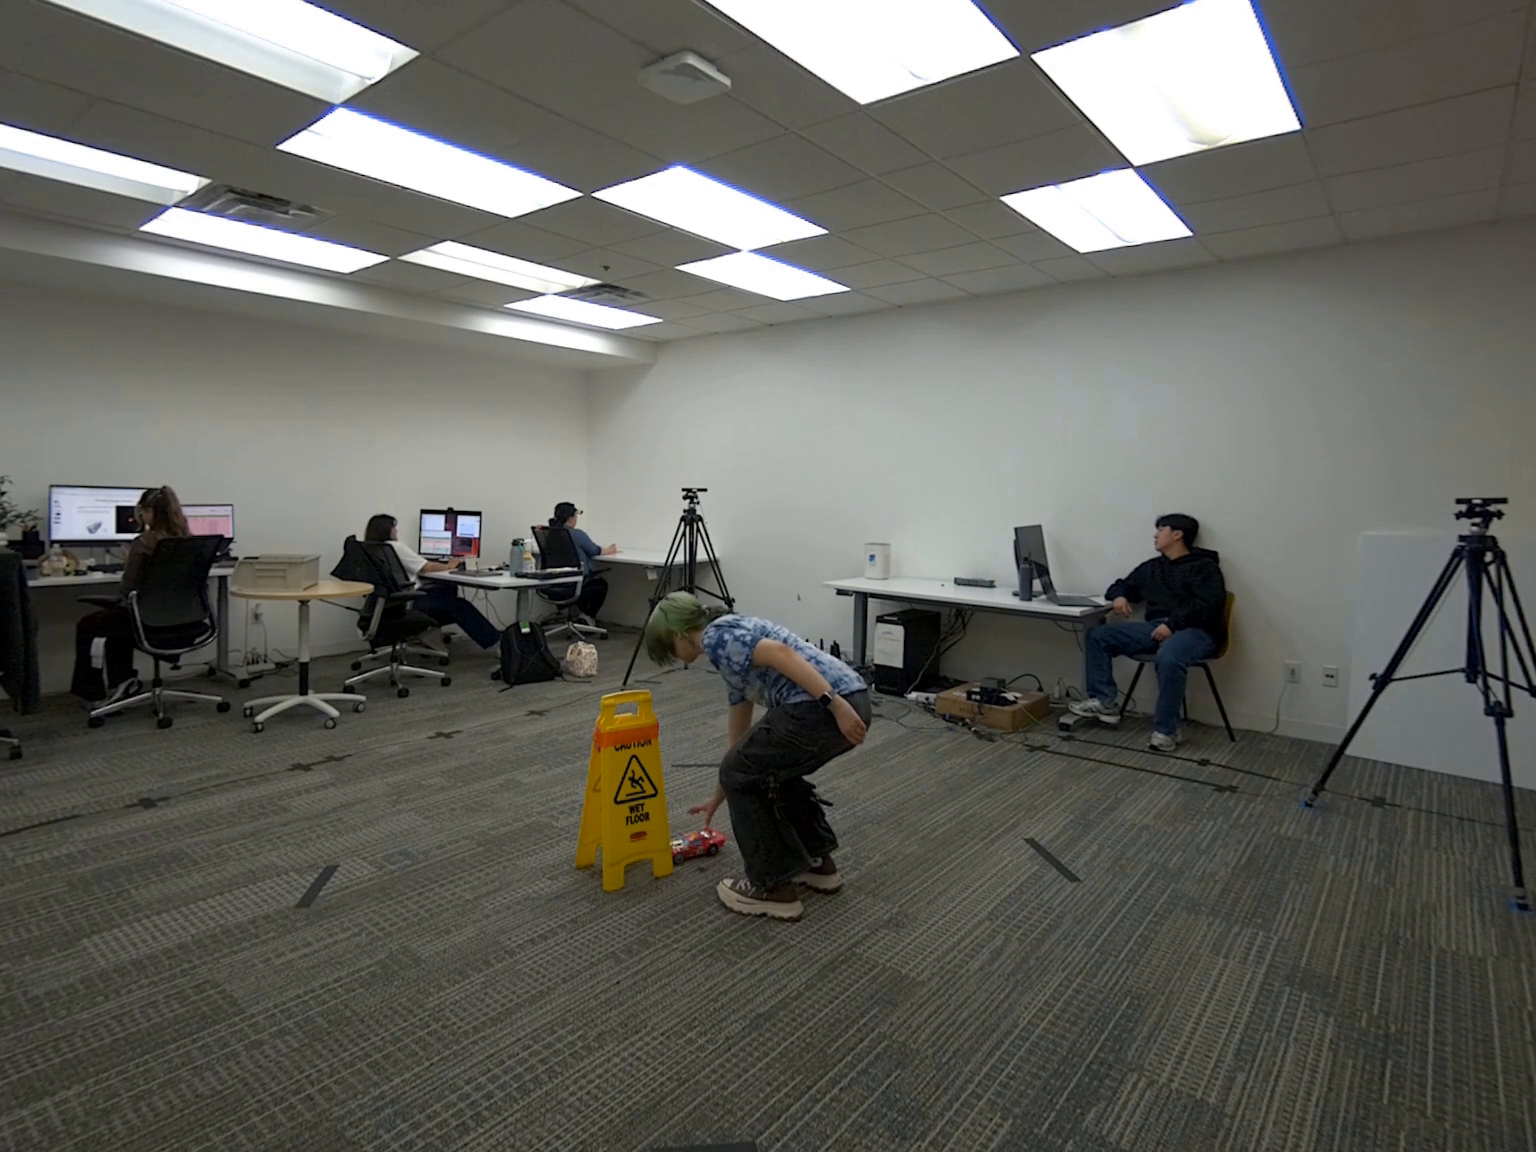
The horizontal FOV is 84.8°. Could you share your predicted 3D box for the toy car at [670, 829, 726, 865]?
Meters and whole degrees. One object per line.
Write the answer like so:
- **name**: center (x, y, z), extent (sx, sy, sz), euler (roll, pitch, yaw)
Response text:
- **toy car**: center (-0.285, 1.028, 3.237), extent (0.250, 0.082, 0.134), euler (-17, 14, -26)
